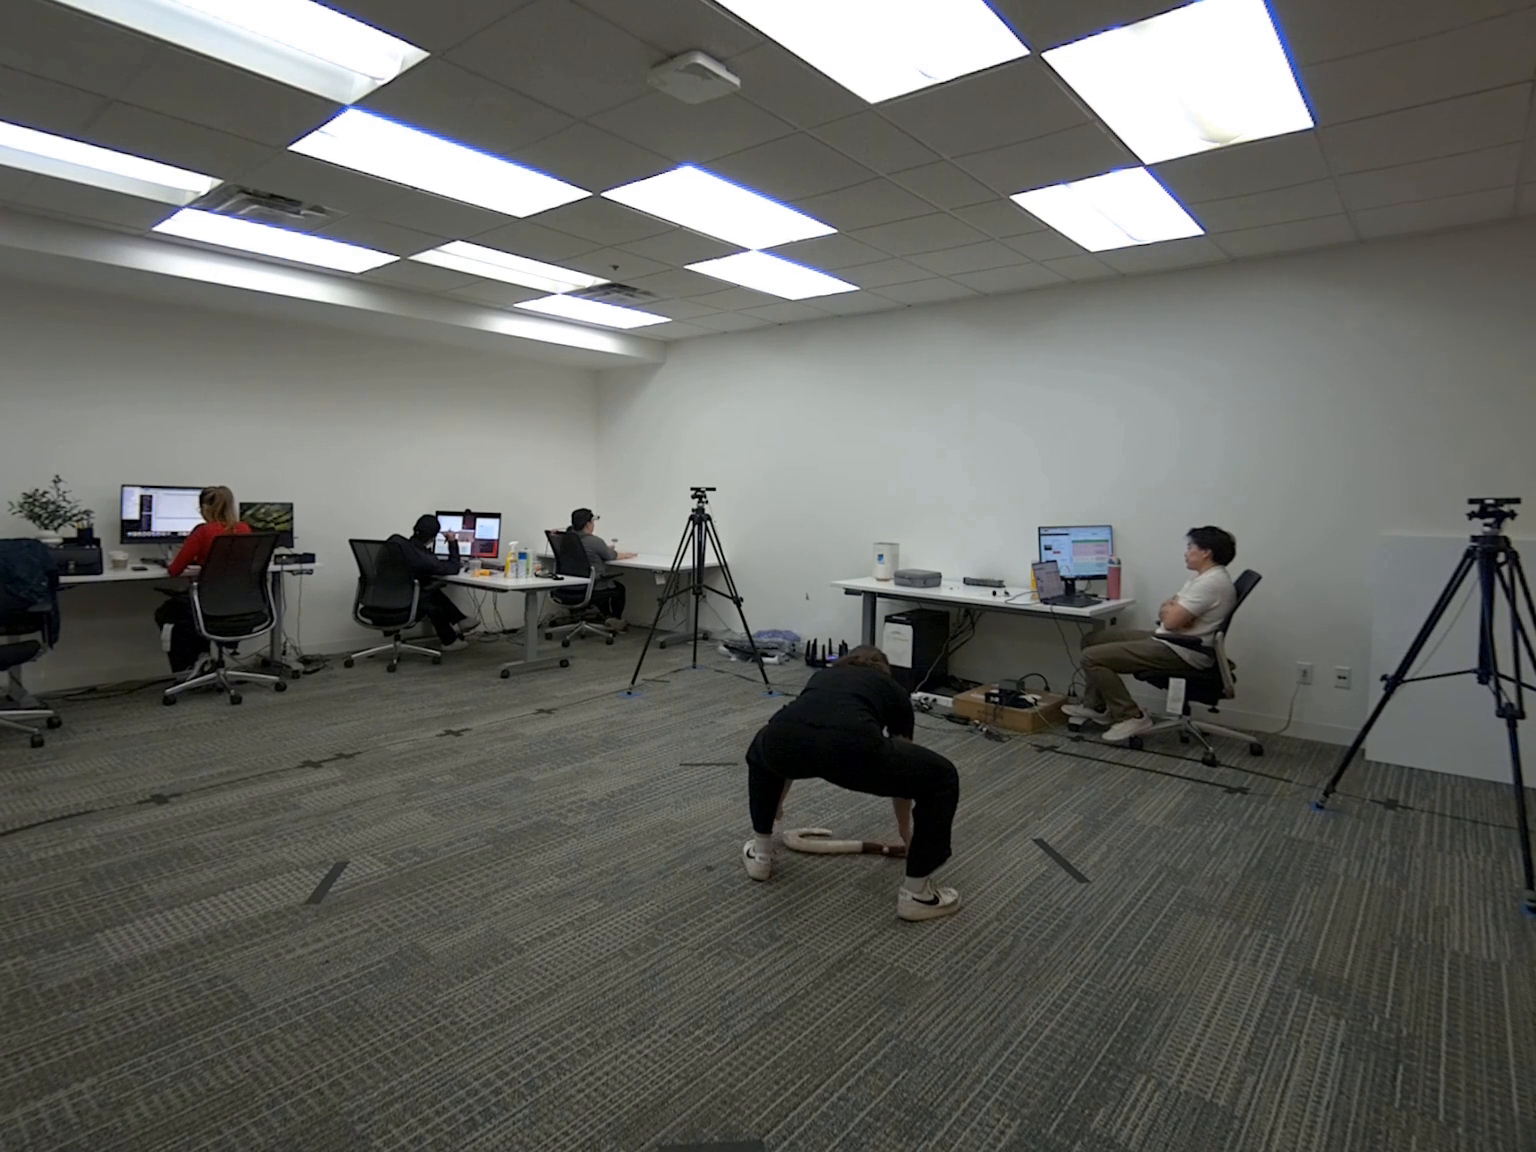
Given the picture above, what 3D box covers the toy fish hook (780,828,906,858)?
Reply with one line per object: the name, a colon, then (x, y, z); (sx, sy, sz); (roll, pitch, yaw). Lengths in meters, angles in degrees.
toy fish hook: (0.303, 1.031, 3.331); (0.510, 0.048, 0.224); (2, 7, 6)
